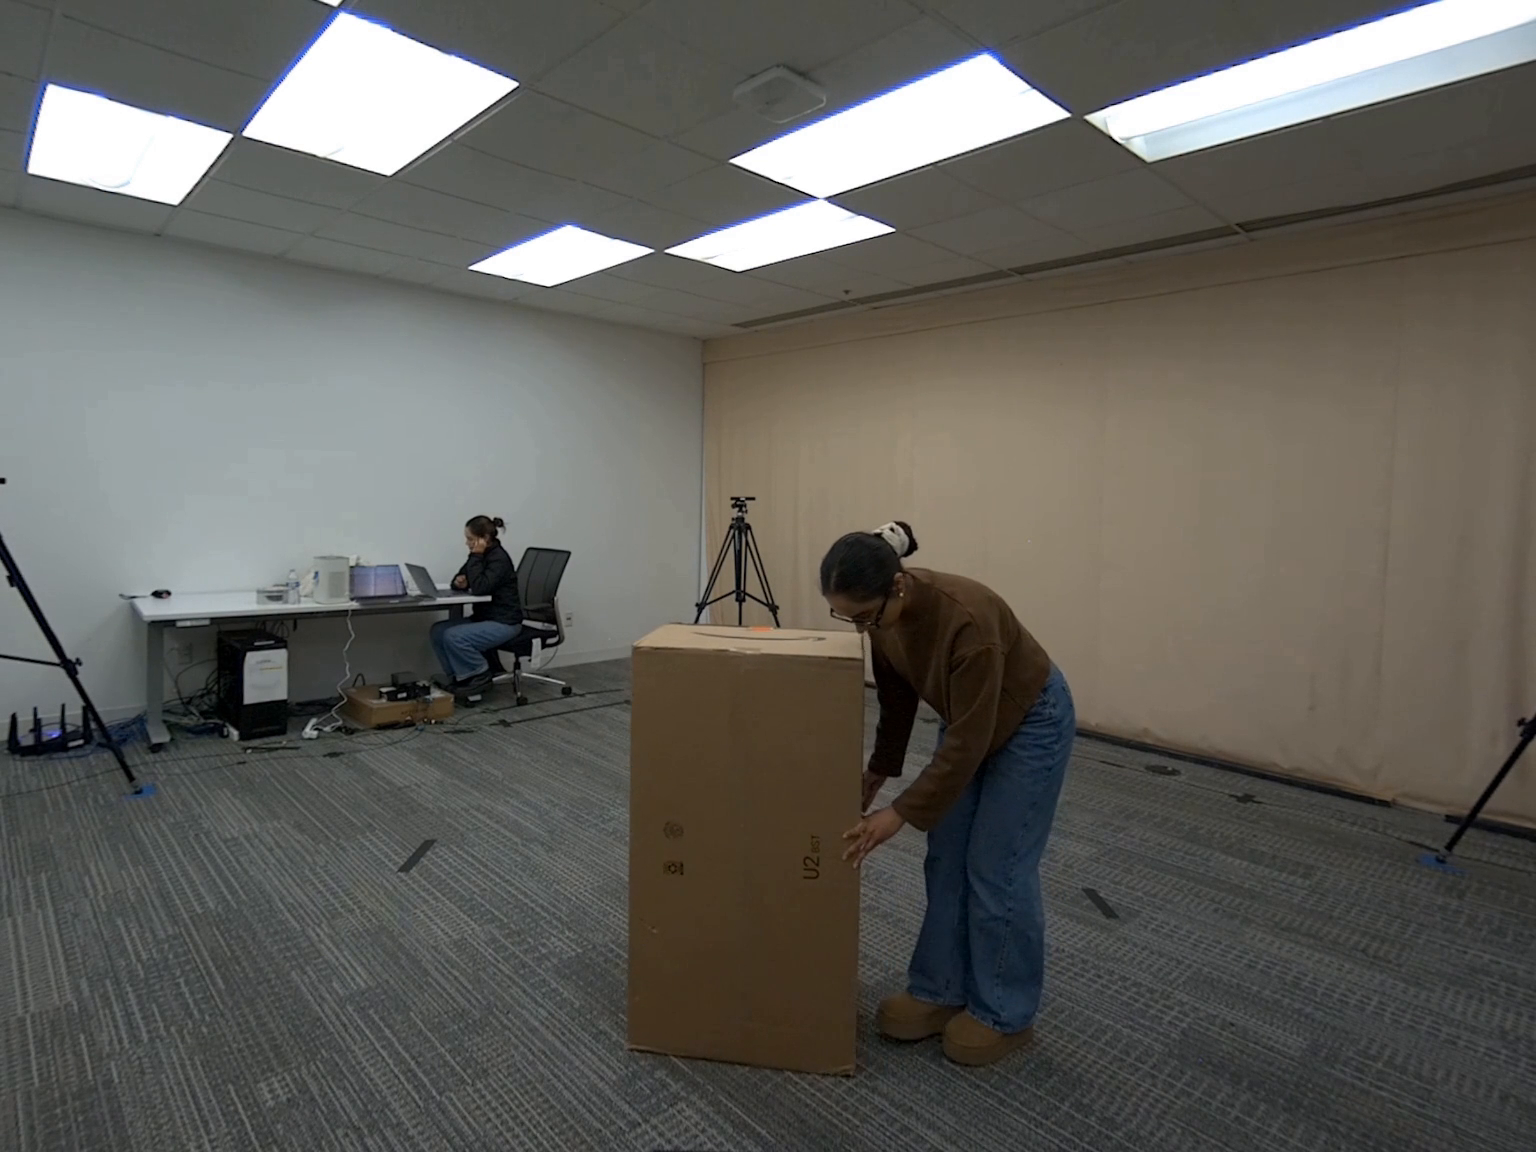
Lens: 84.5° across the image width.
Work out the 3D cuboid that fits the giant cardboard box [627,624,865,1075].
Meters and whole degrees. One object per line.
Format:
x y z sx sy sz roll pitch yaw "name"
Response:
-0.040 0.680 2.262 0.581 1.023 0.425 1 3 6 "giant cardboard box"
